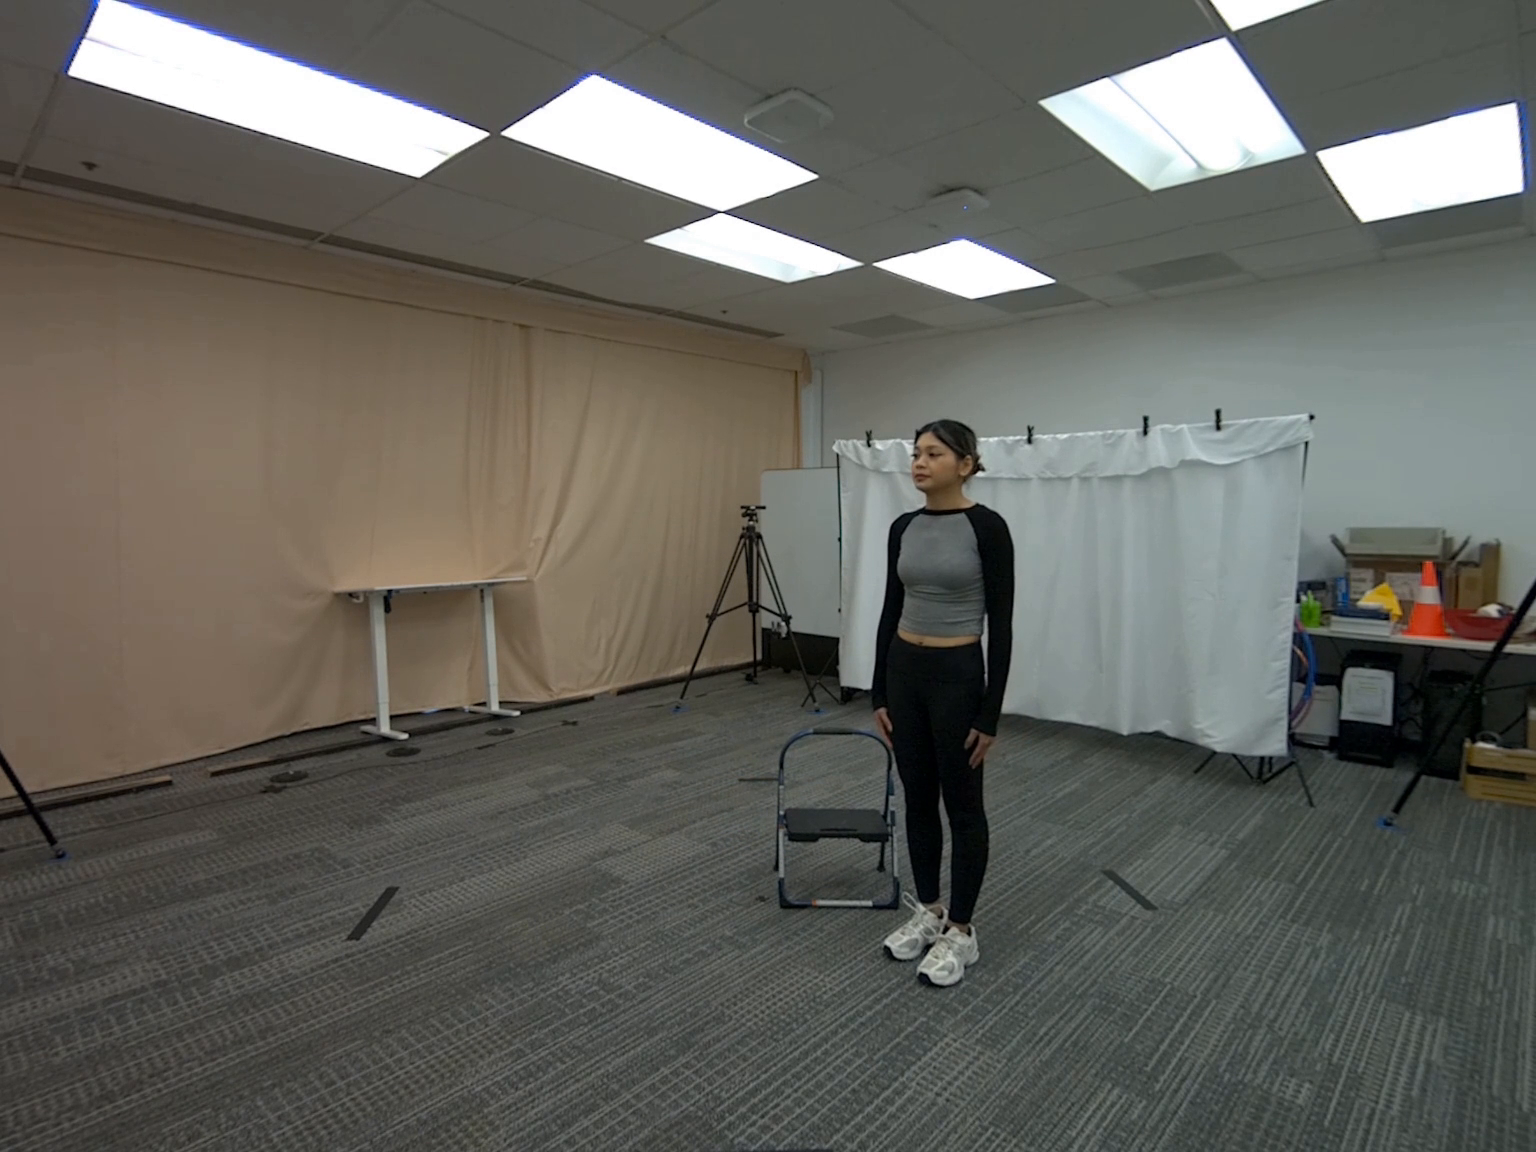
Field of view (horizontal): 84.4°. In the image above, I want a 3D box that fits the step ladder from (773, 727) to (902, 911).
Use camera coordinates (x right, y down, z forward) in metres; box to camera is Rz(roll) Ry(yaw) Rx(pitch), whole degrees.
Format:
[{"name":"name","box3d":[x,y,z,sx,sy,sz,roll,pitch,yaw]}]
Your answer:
[{"name":"step ladder","box3d":[0.242,0.835,3.053,0.431,0.605,0.350,0,3,-1]}]
